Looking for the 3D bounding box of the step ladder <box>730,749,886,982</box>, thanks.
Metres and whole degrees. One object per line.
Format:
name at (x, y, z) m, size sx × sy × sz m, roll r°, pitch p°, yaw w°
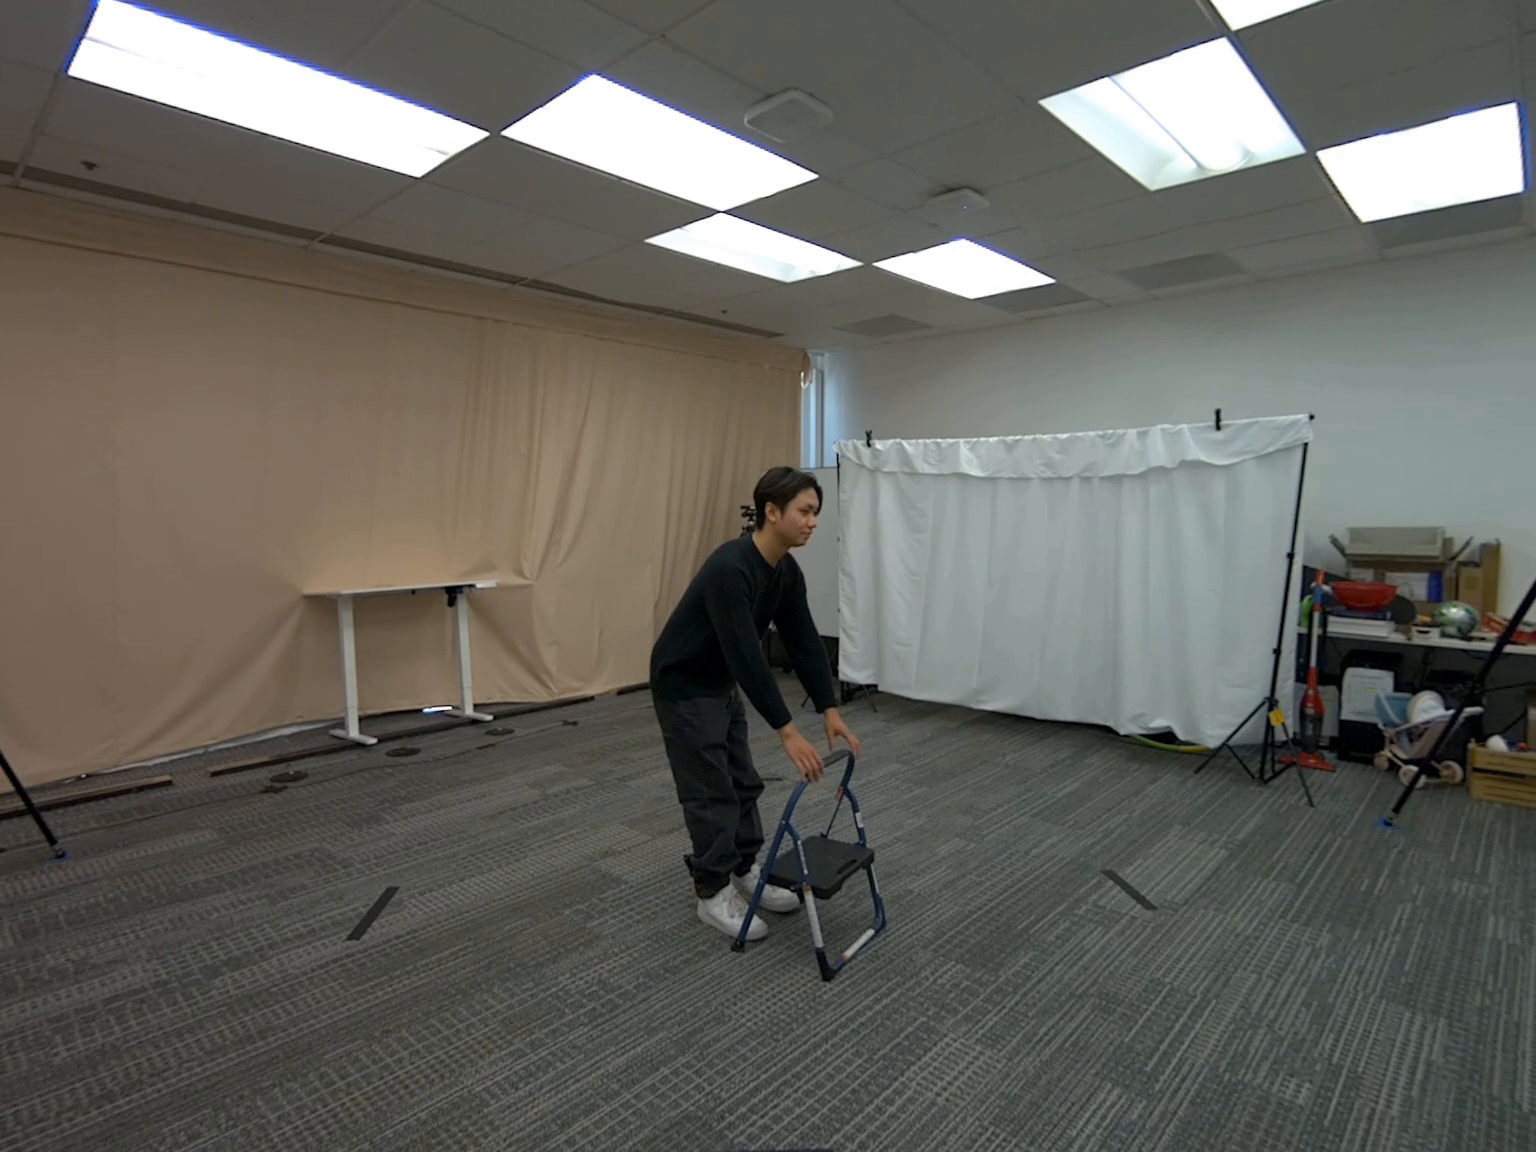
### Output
step ladder at (0.147, 0.863, 2.696) m, size 0.360 × 0.605 × 0.418 m, roll 2°, pitch 4°, yaw 33°
